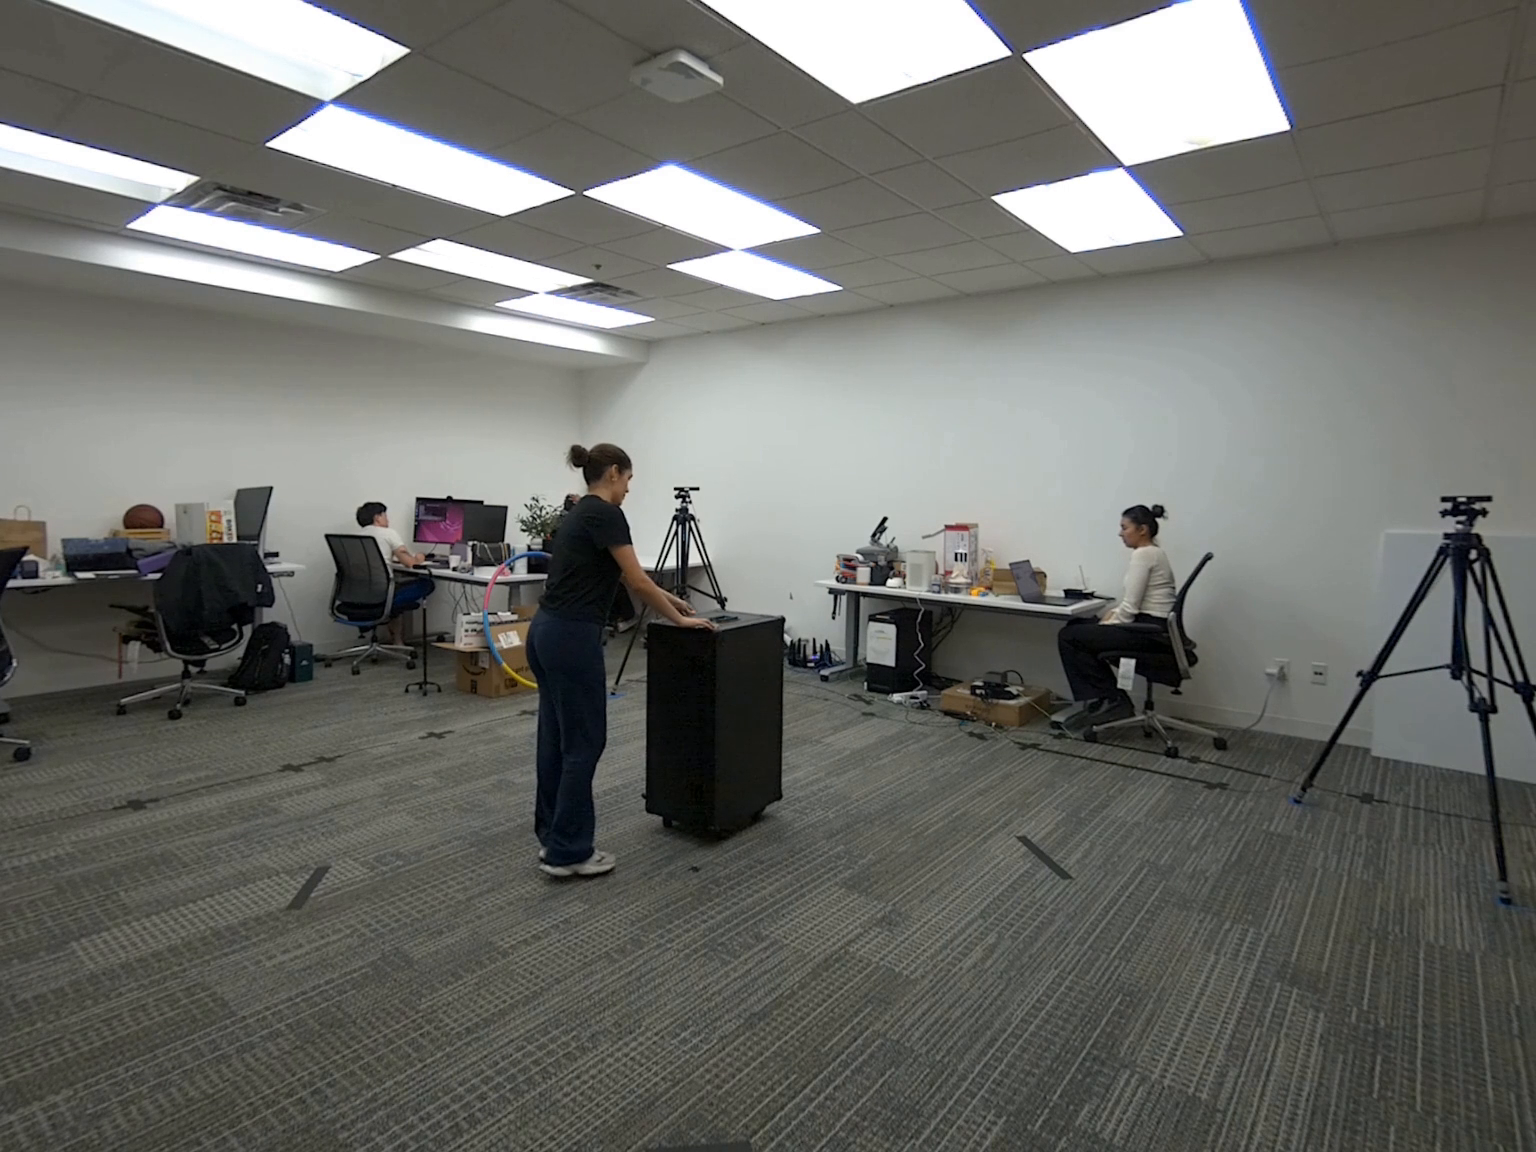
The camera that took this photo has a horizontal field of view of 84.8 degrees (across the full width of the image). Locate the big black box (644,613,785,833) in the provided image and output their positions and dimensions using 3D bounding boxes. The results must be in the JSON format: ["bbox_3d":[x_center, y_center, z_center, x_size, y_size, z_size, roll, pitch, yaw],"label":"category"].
[{"bbox_3d":[-0.209,0.604,3.533,0.409,0.859,0.507,2,5,36],"label":"big black box"}]
